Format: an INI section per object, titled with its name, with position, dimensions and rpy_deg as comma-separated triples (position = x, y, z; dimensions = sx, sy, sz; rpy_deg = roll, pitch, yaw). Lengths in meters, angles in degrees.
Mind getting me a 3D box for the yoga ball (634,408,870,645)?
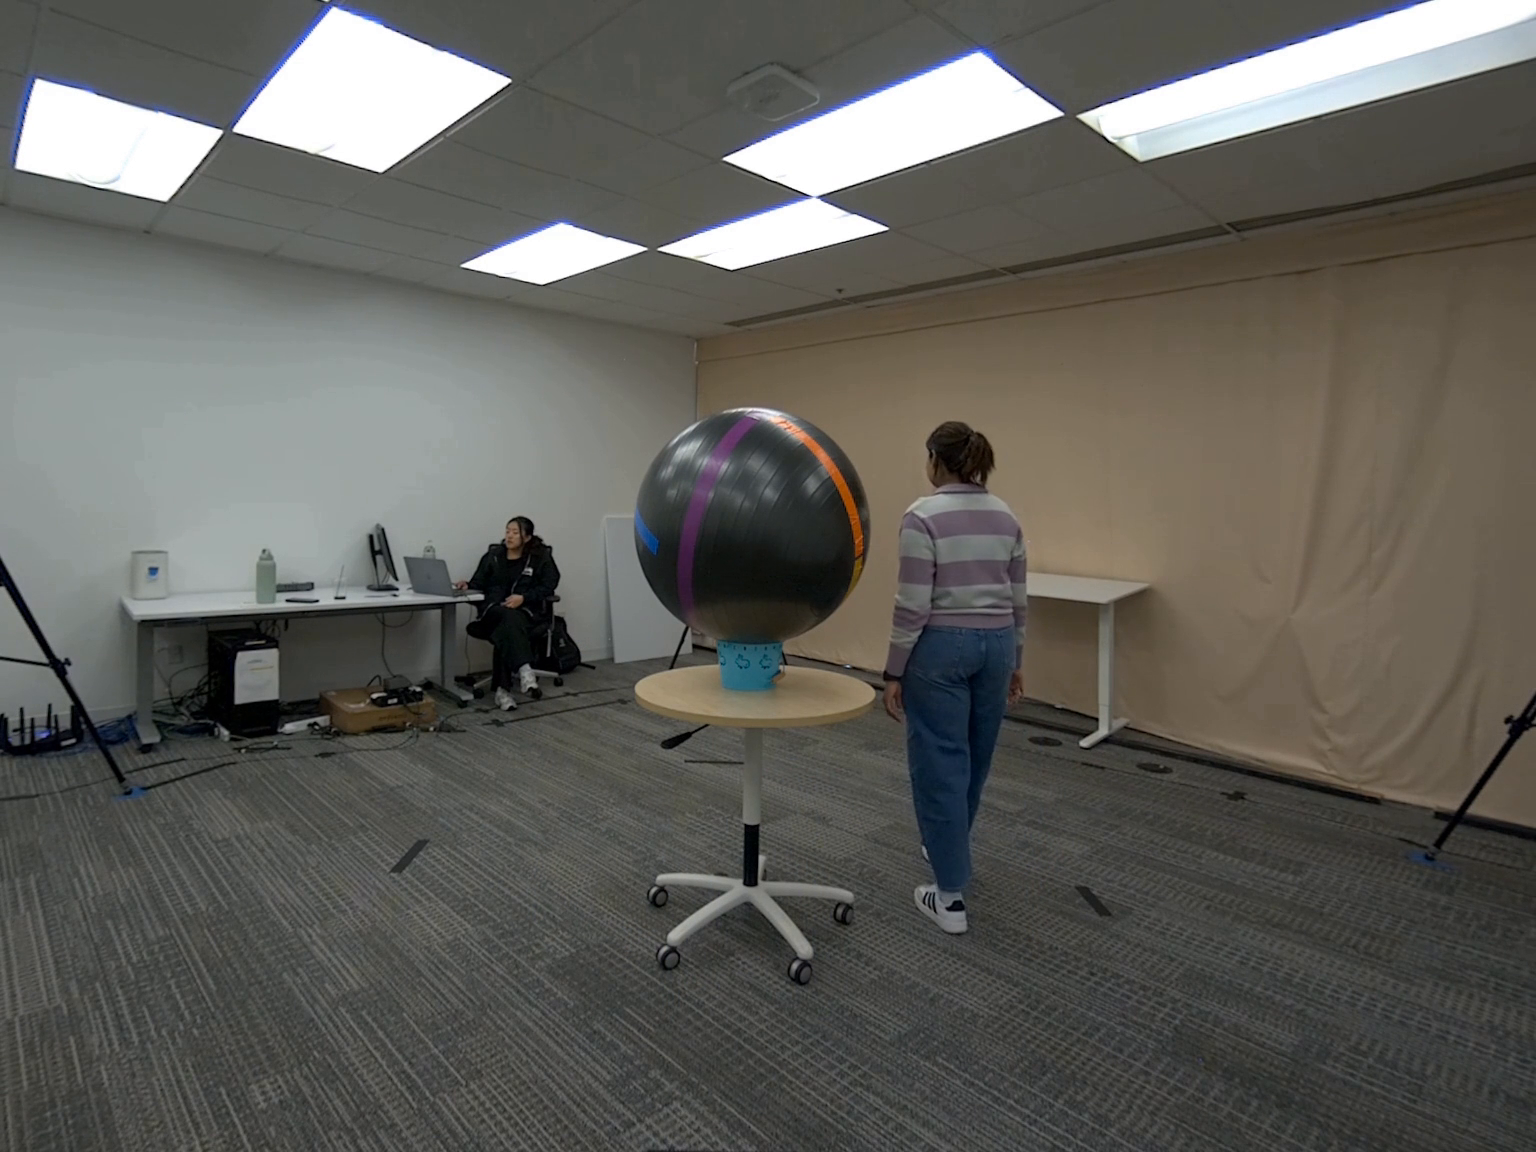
[yoga ball]
position = -0.051, -0.152, 2.706
dimensions = 0.757, 0.756, 0.761
rpy_deg = 1, 4, -1
